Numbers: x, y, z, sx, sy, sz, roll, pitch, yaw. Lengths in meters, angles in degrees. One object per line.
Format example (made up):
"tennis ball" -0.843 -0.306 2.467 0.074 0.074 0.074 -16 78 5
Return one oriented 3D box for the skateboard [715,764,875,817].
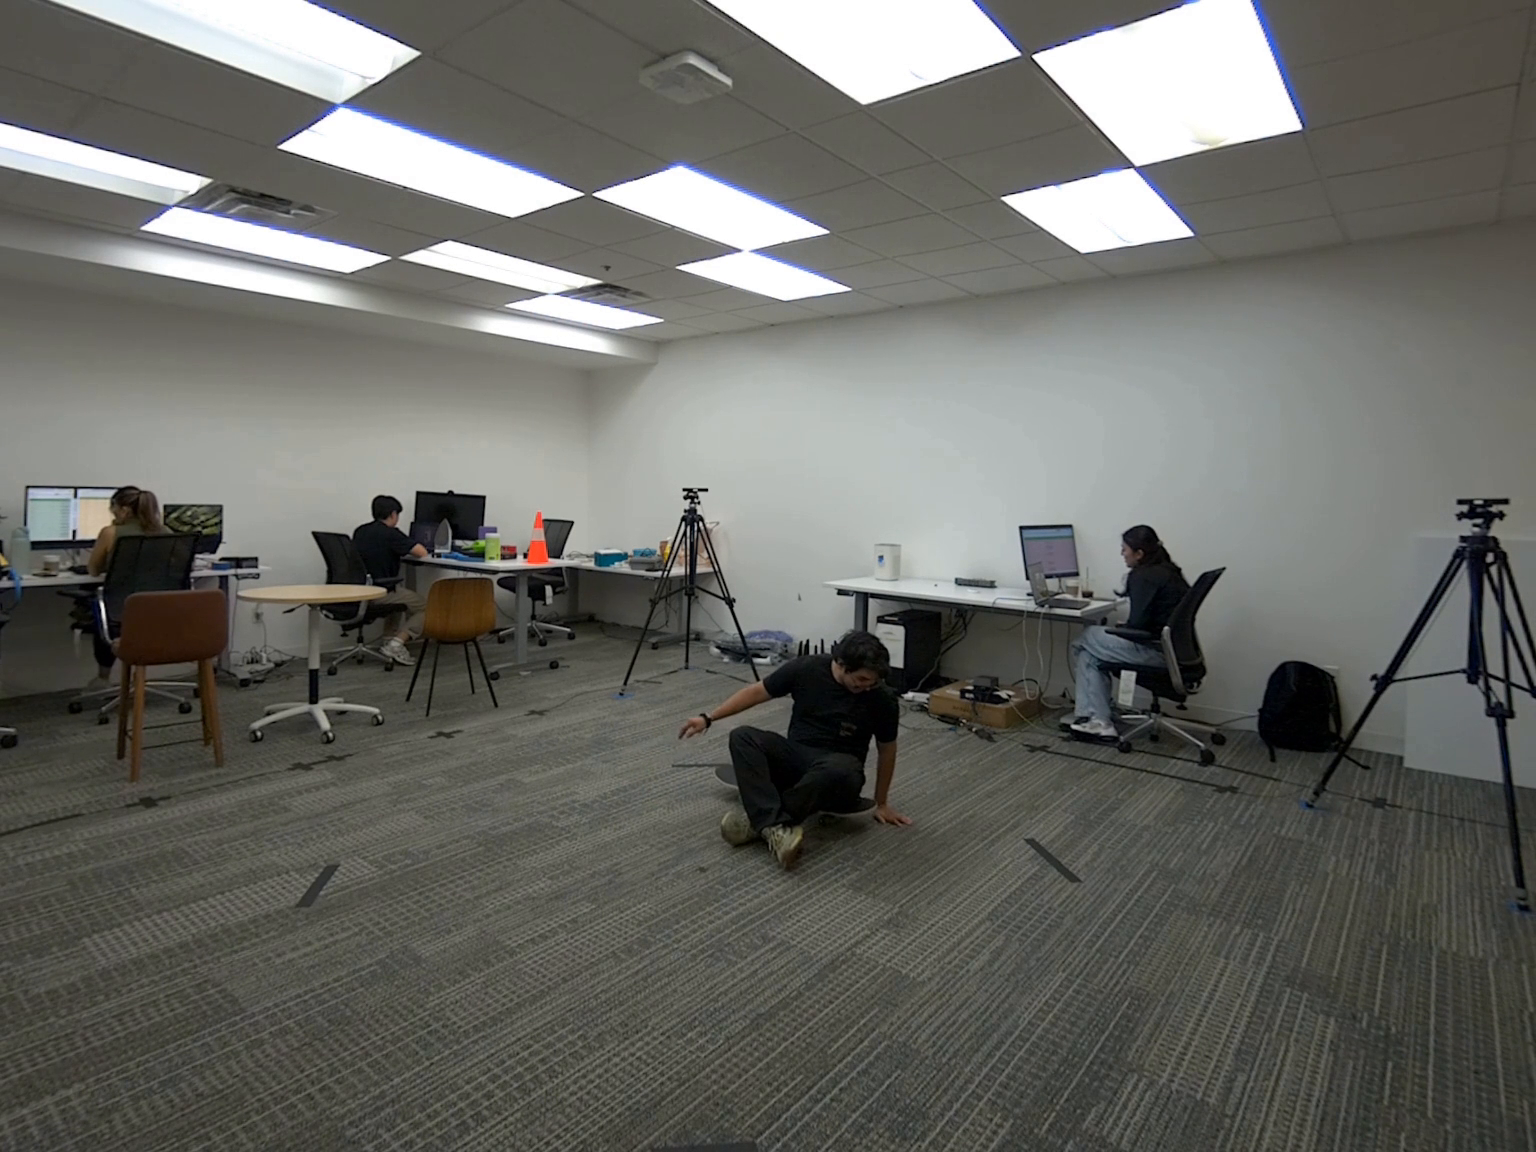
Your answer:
"skateboard" 0.096 0.960 3.711 0.812 0.109 0.188 6 11 36
